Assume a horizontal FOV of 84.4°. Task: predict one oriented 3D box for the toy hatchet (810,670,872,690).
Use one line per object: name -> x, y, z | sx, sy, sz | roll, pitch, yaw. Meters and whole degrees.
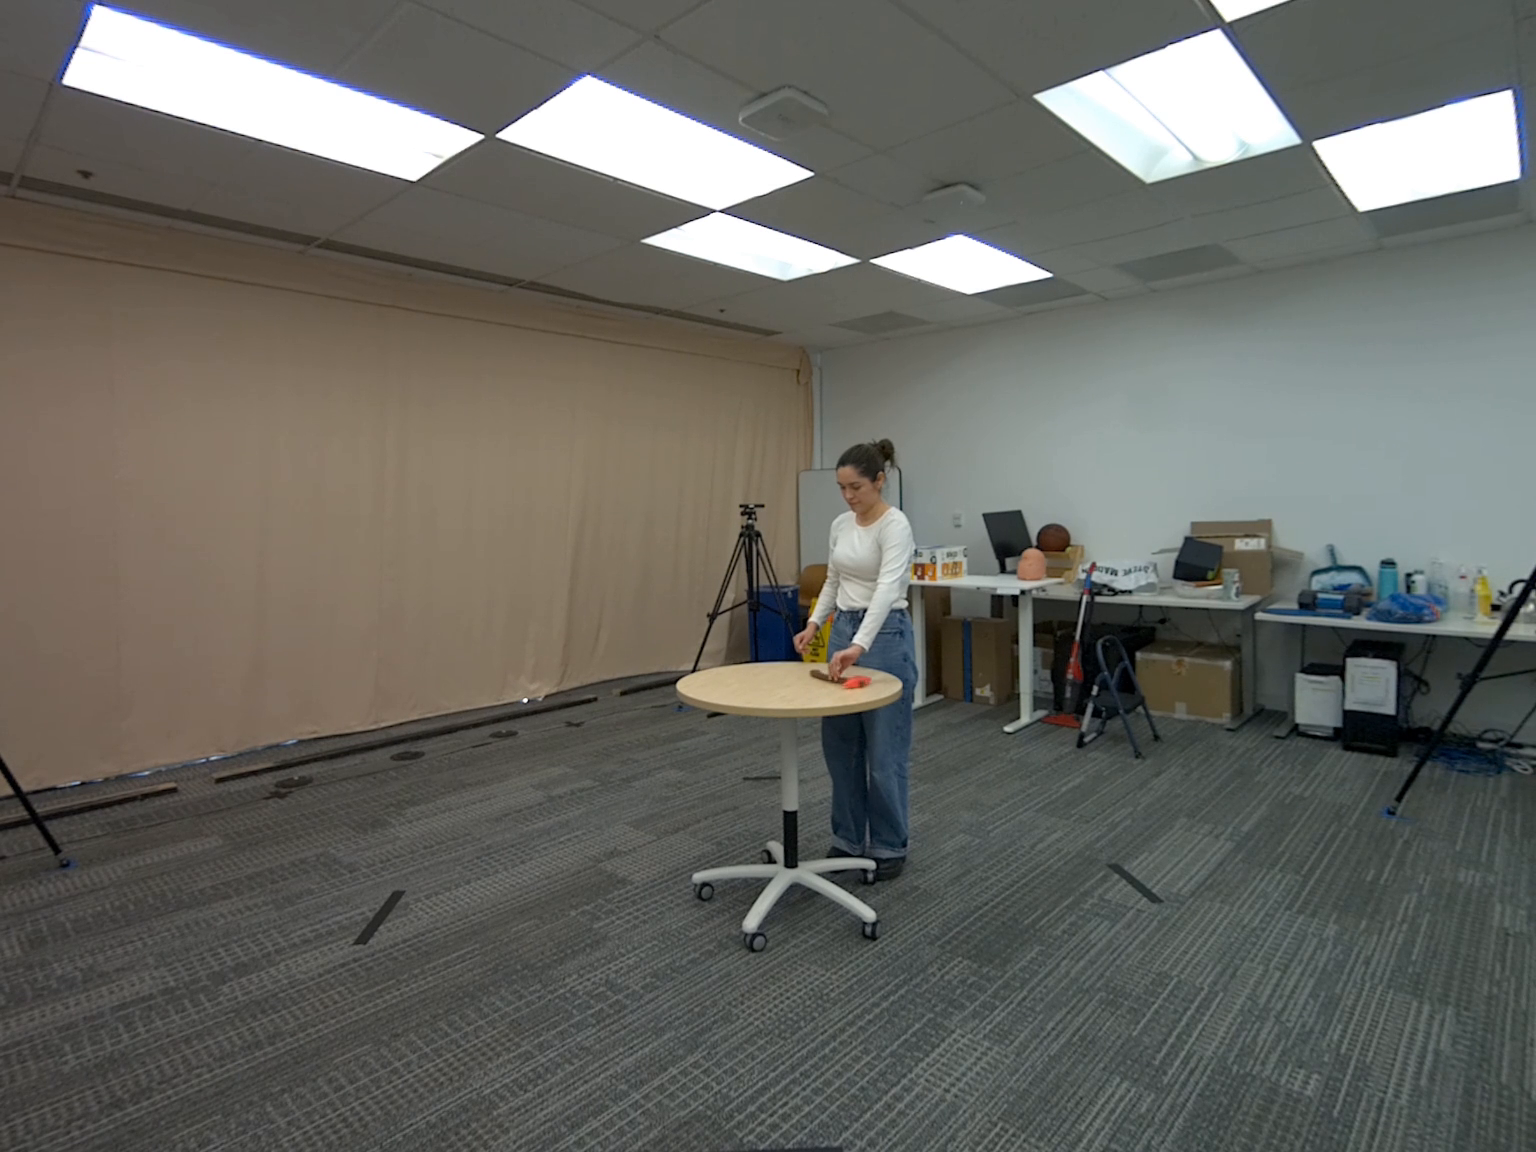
toy hatchet -> 0.252, 0.345, 2.884 | 0.129, 0.029, 0.274 | -8, 6, -14
